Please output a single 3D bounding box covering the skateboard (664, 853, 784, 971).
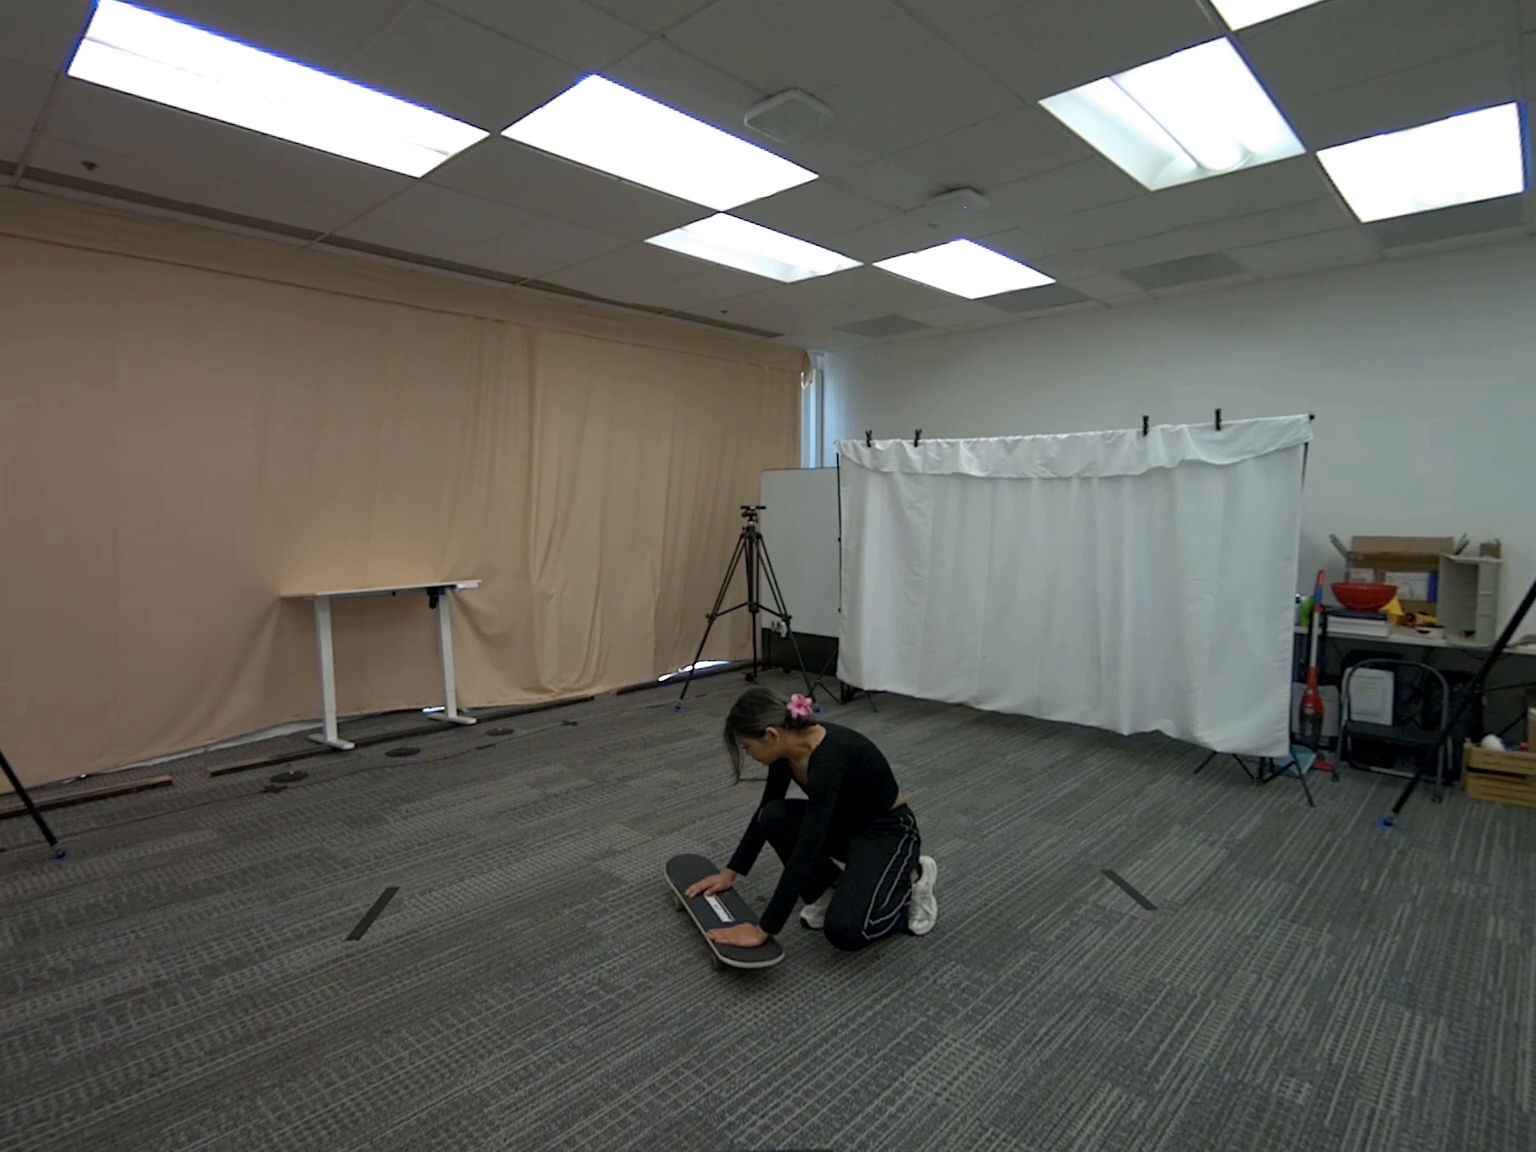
[{"bbox_3d":[-0.157,1.110,2.742,0.189,0.110,0.804,0,4,-23],"label":"skateboard"}]
